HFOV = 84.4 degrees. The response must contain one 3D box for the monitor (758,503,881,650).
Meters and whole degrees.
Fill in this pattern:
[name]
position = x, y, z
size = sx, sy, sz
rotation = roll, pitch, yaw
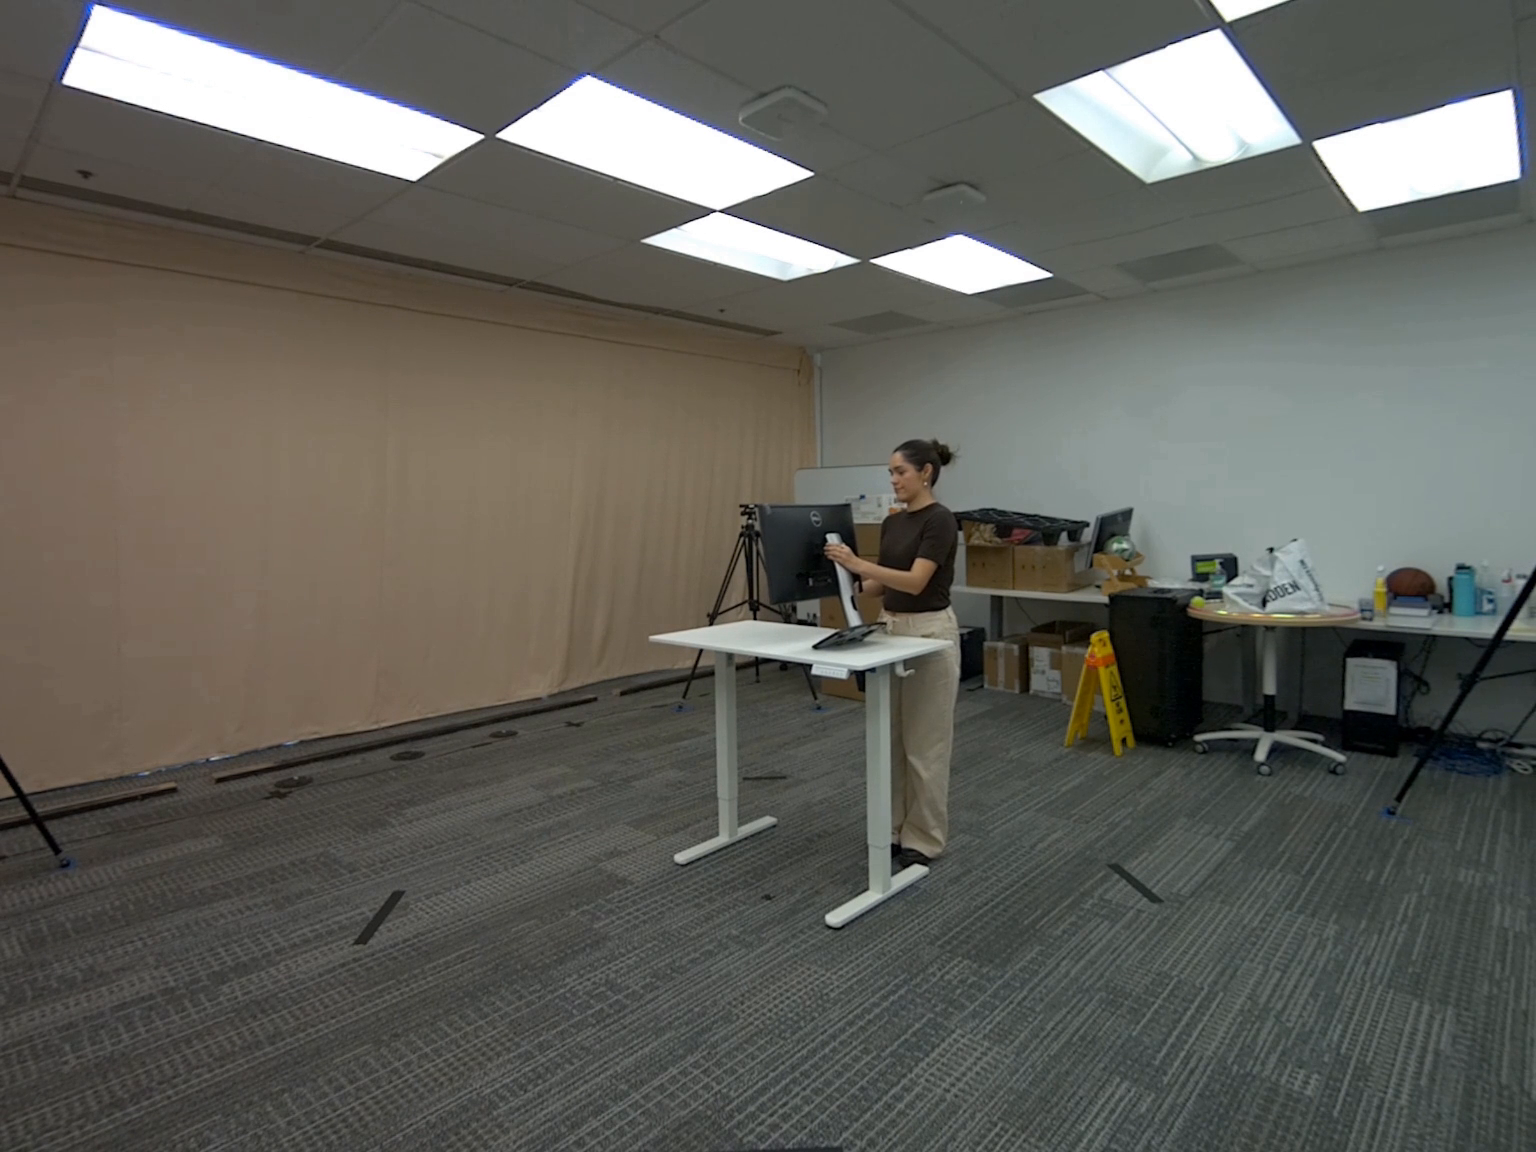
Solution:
[monitor]
position = 0.220, -0.017, 3.039
size = 0.190, 0.529, 0.522
rotation = -29, -17, 39
